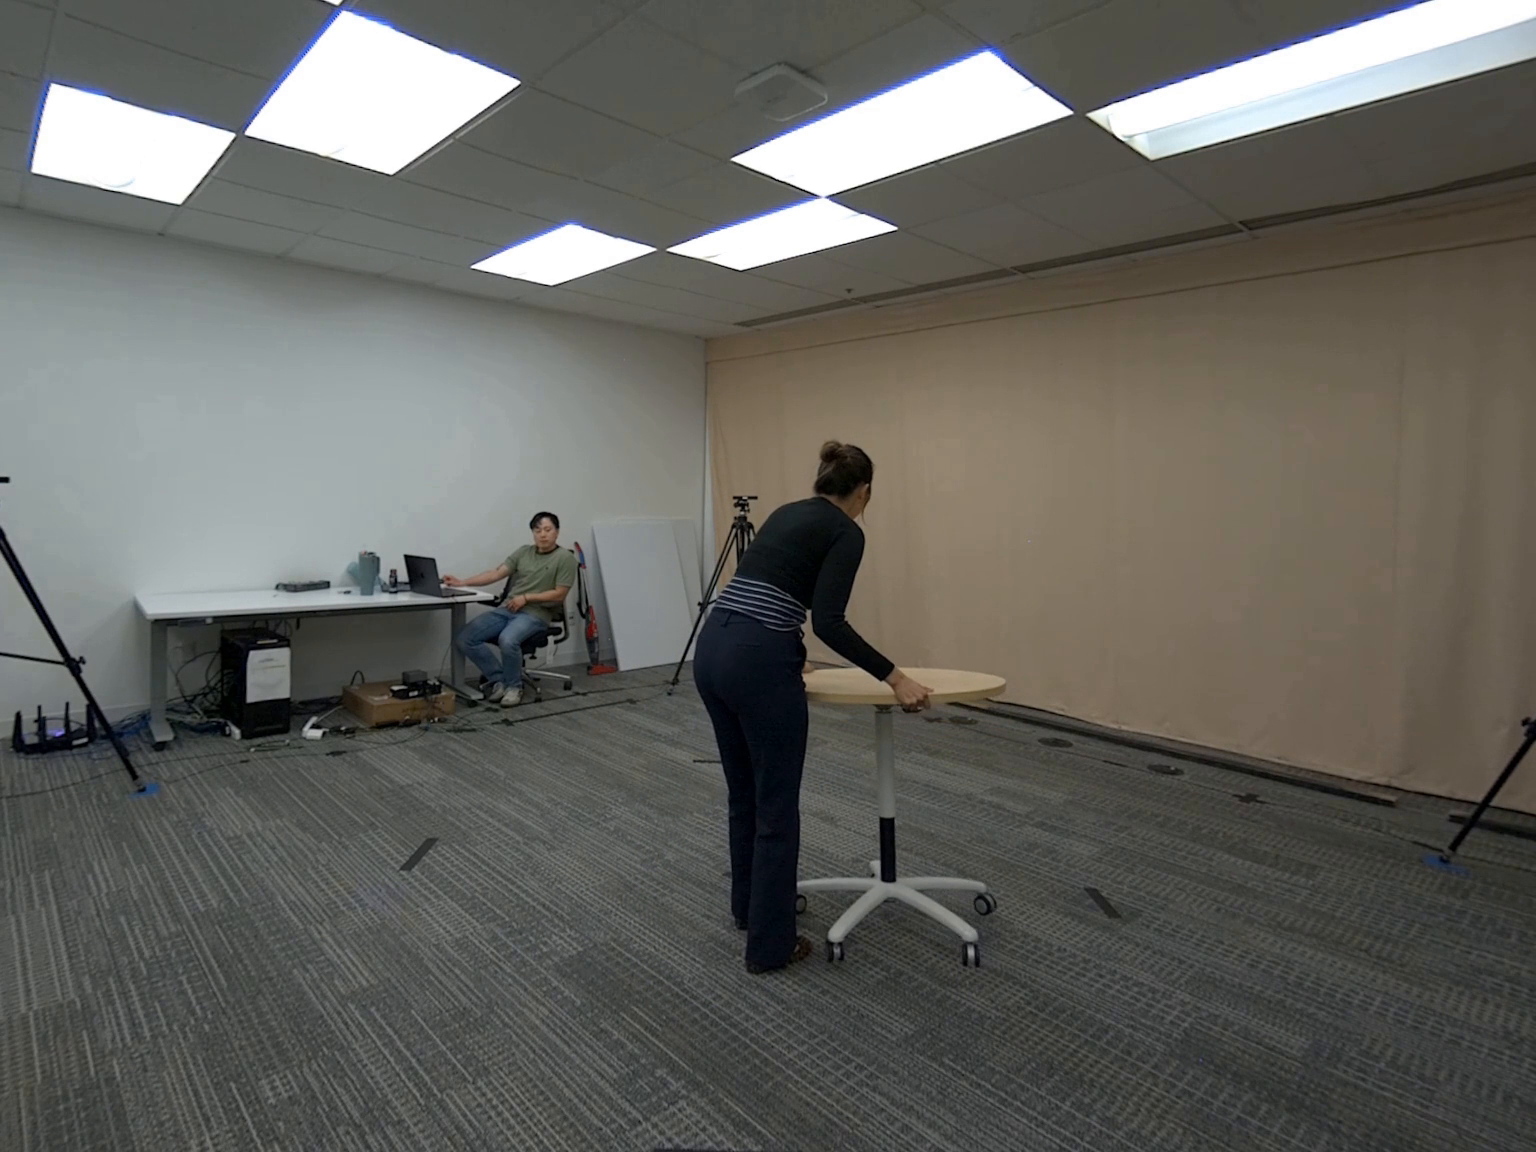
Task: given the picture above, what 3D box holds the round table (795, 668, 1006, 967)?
[{"bbox_3d":[0.380,0.735,2.728,0.763,0.795,0.763,-1,-2,-1],"label":"round table"}]
